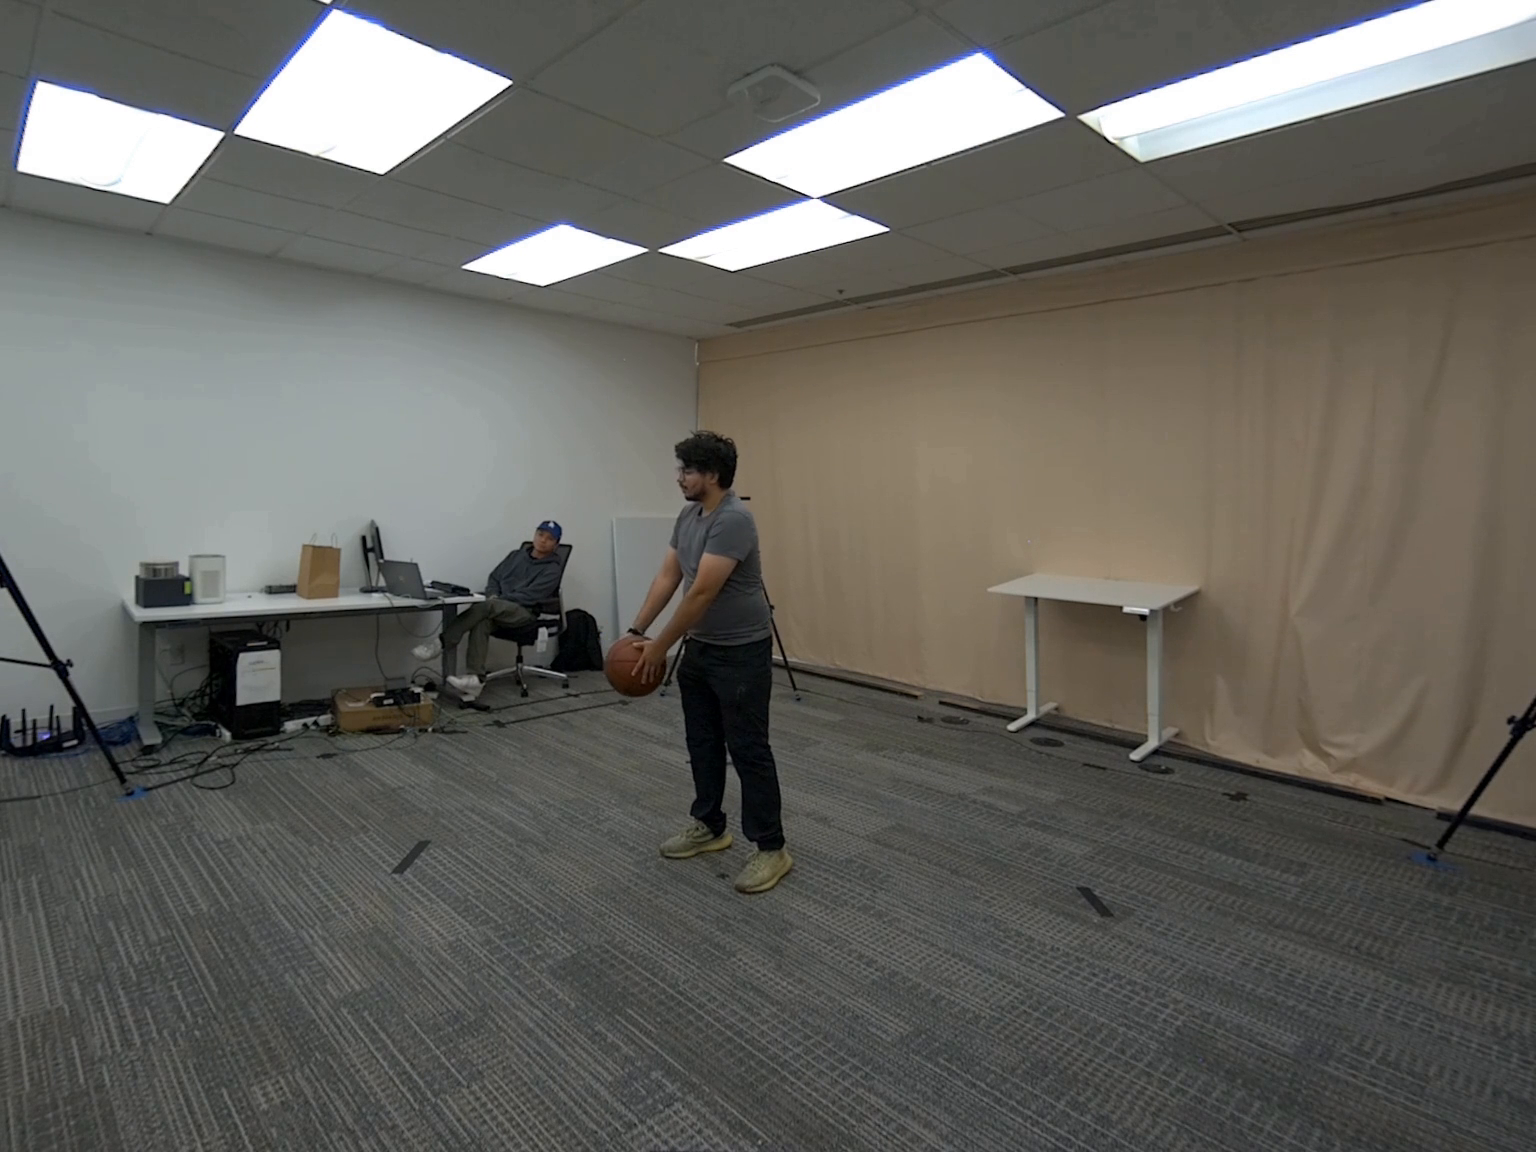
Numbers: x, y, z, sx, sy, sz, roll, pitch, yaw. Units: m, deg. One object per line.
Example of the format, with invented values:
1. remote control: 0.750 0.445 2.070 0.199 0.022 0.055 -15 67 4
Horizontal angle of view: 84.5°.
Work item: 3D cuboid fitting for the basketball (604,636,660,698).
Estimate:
1. basketball: -0.513 0.342 3.249 0.236 0.235 0.237 1 4 -1
